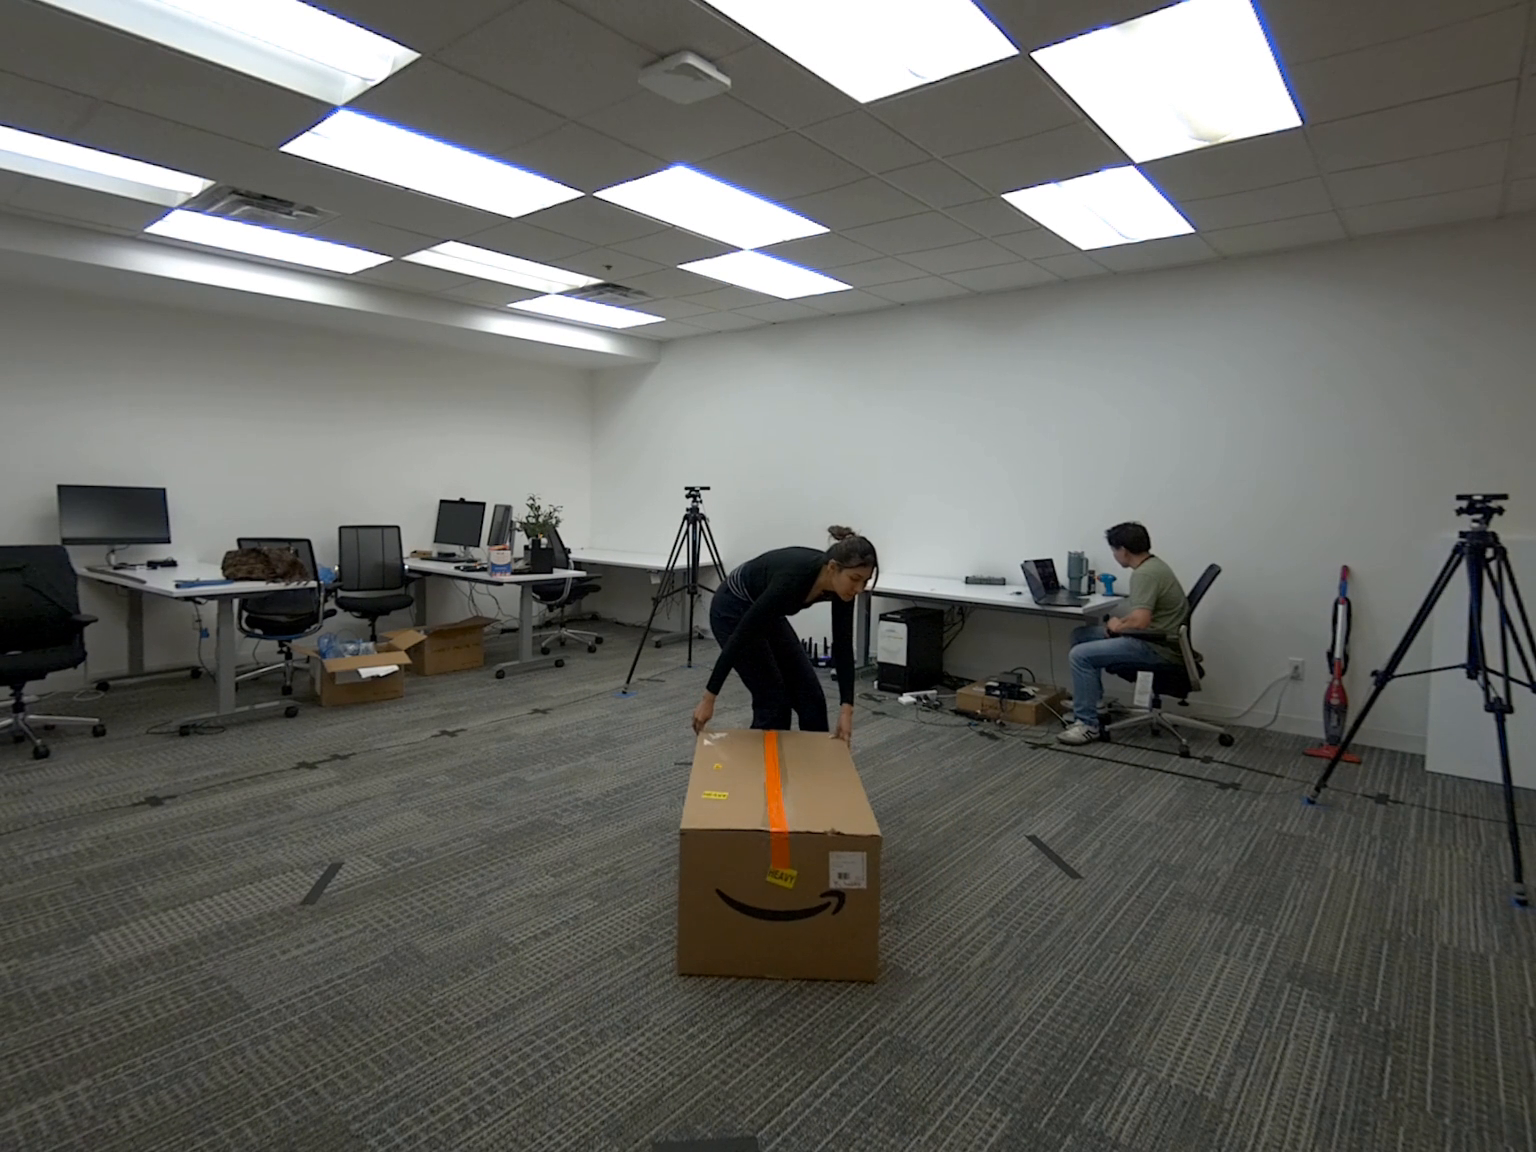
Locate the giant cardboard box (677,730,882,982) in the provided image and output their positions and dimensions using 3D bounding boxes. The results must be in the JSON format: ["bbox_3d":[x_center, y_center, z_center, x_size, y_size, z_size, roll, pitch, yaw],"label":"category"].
[{"bbox_3d":[0.011,0.872,2.903,0.578,0.425,1.029,0,5,-1],"label":"giant cardboard box"}]
